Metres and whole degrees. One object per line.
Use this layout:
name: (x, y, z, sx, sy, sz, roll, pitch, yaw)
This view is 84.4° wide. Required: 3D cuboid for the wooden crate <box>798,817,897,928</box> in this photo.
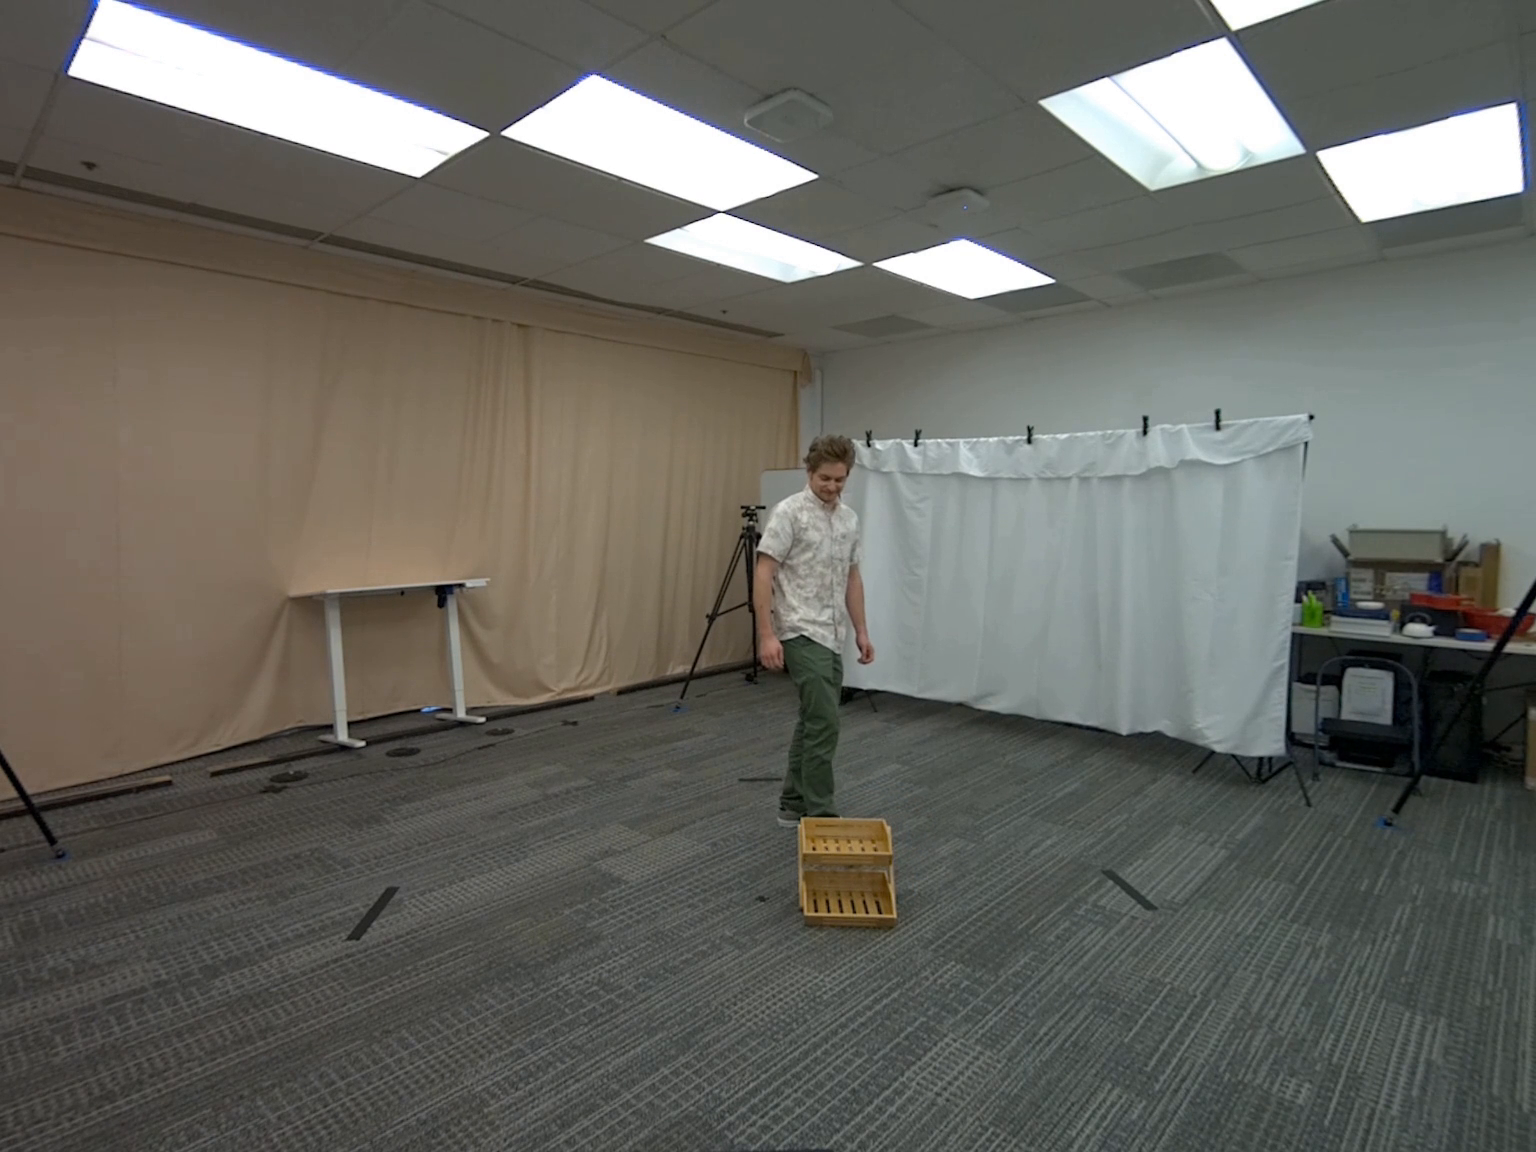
wooden crate: (0.278, 1.017, 2.902, 0.325, 0.273, 0.302, 0, 4, 2)
